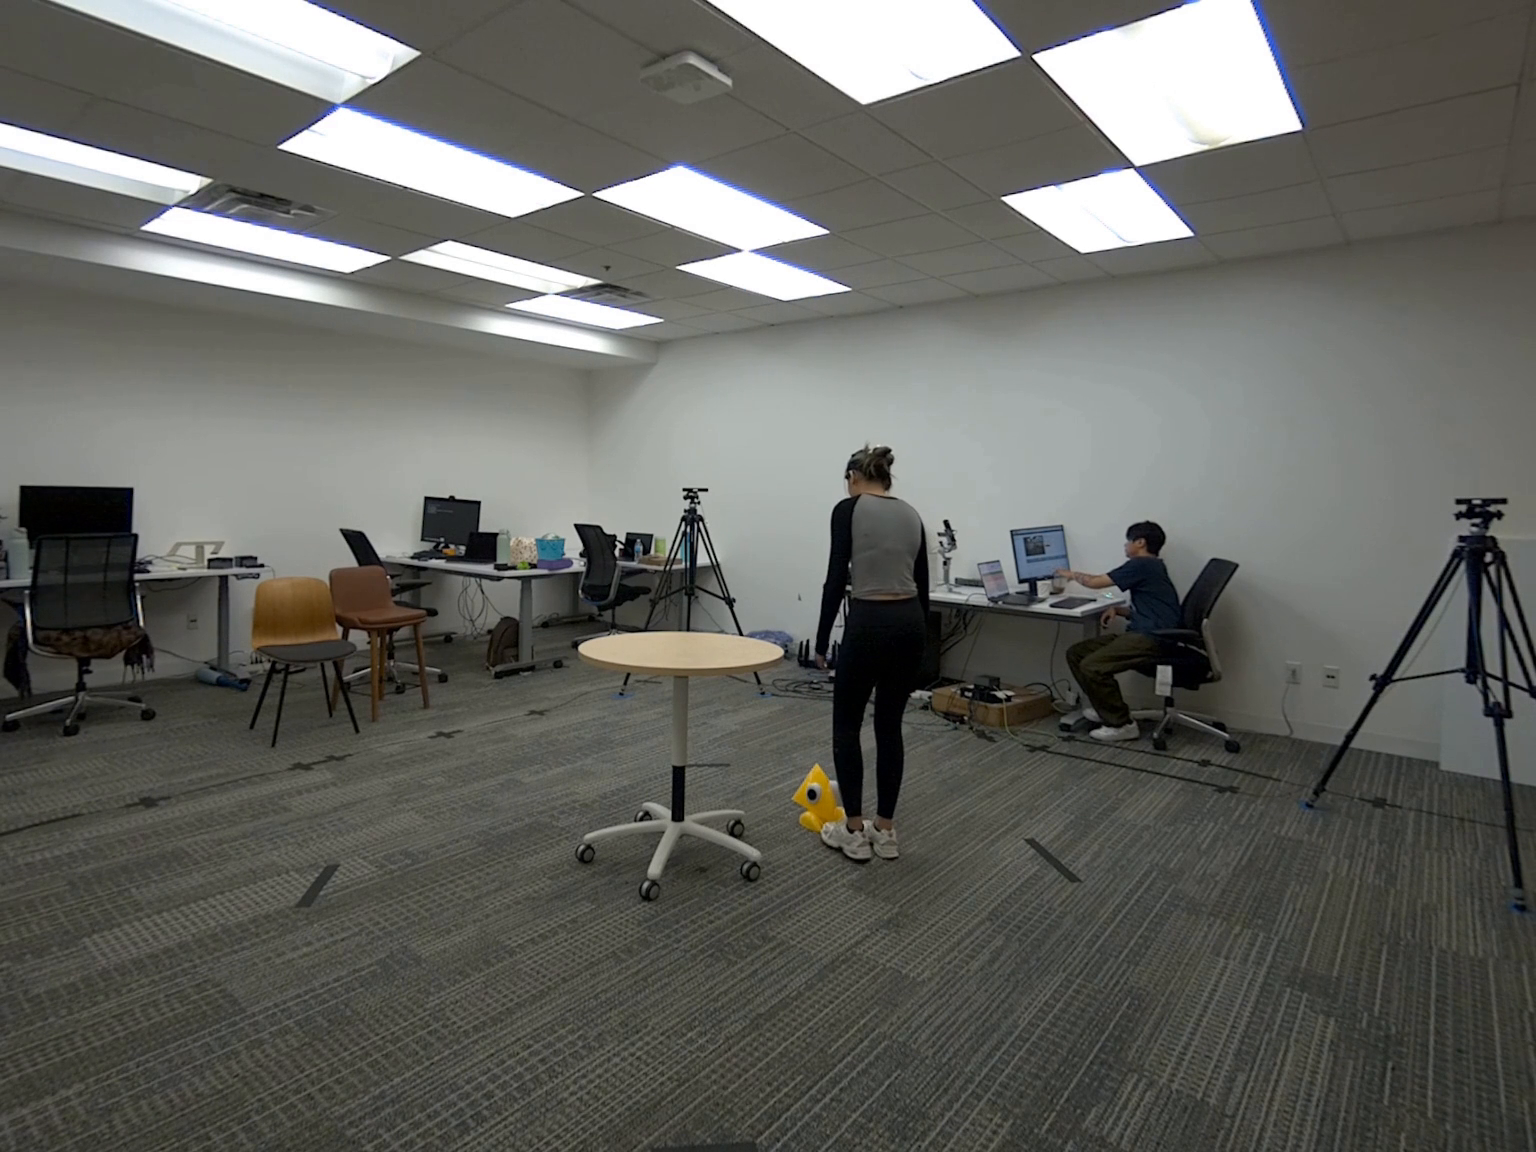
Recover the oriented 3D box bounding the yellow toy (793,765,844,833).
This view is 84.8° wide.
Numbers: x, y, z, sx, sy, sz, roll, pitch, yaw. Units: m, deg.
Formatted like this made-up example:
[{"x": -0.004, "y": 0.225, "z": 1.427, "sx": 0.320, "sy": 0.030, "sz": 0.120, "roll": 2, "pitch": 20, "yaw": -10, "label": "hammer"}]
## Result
[{"x": 0.228, "y": 0.921, "z": 3.575, "sx": 0.200, "sy": 0.230, "sz": 0.198, "roll": 0, "pitch": 4, "yaw": -27, "label": "yellow toy"}]
